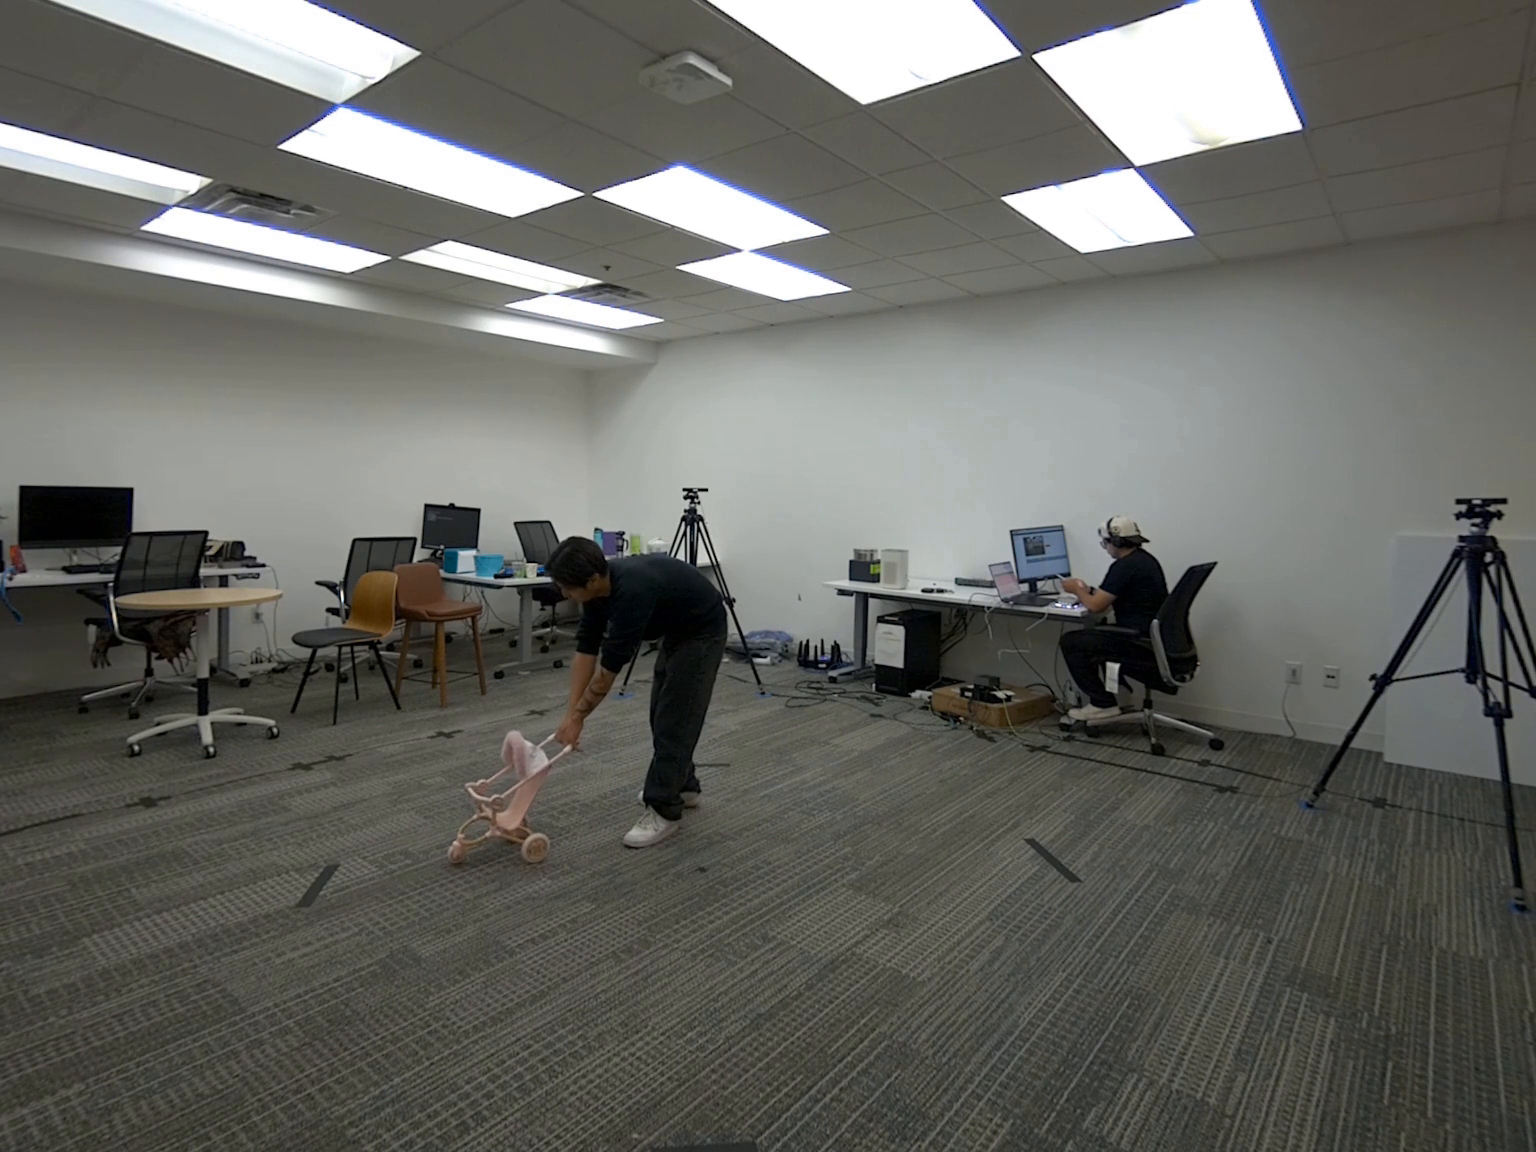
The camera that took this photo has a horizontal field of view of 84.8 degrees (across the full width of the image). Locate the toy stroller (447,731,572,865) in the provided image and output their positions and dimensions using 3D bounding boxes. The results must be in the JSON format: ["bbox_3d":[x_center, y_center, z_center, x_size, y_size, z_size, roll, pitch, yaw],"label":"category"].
[{"bbox_3d":[-0.978,0.822,3.208,0.330,0.537,0.289,18,-6,-29],"label":"toy stroller"}]
